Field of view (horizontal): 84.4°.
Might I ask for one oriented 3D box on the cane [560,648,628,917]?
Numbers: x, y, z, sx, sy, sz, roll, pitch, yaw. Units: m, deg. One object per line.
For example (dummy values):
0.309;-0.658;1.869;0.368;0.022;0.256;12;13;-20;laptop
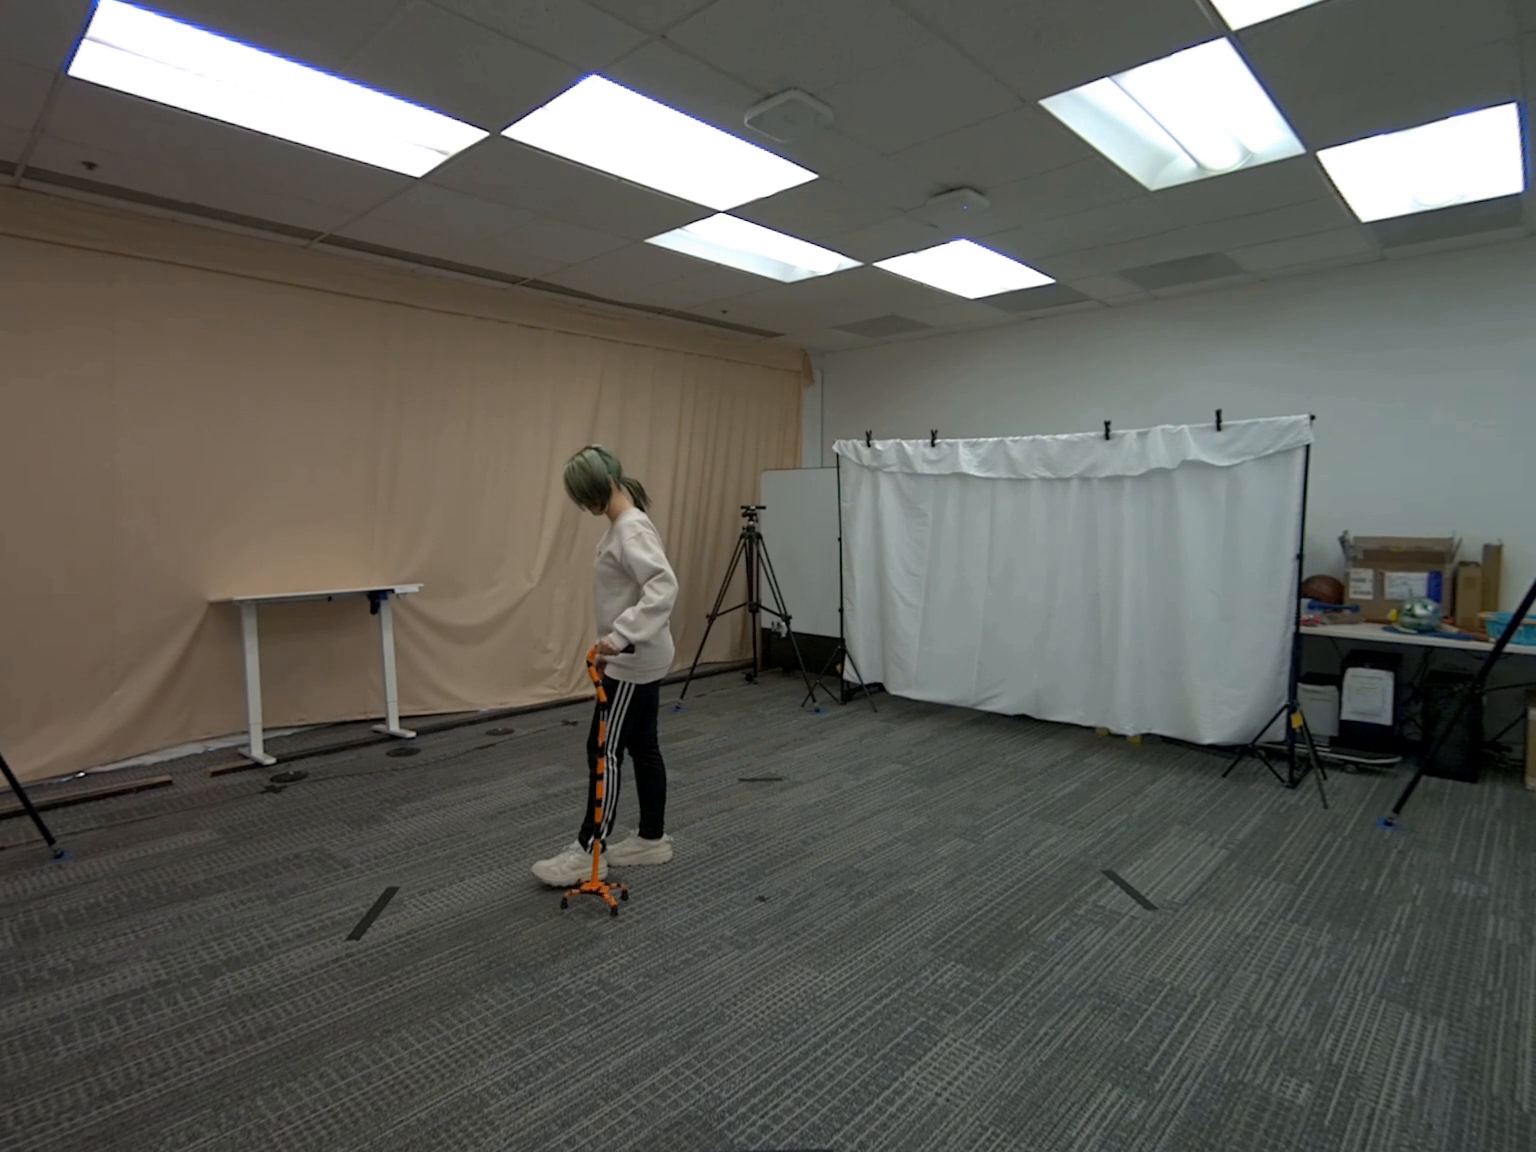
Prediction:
-0.563;0.675;2.877;0.209;0.906;0.150;4;3;9;cane
